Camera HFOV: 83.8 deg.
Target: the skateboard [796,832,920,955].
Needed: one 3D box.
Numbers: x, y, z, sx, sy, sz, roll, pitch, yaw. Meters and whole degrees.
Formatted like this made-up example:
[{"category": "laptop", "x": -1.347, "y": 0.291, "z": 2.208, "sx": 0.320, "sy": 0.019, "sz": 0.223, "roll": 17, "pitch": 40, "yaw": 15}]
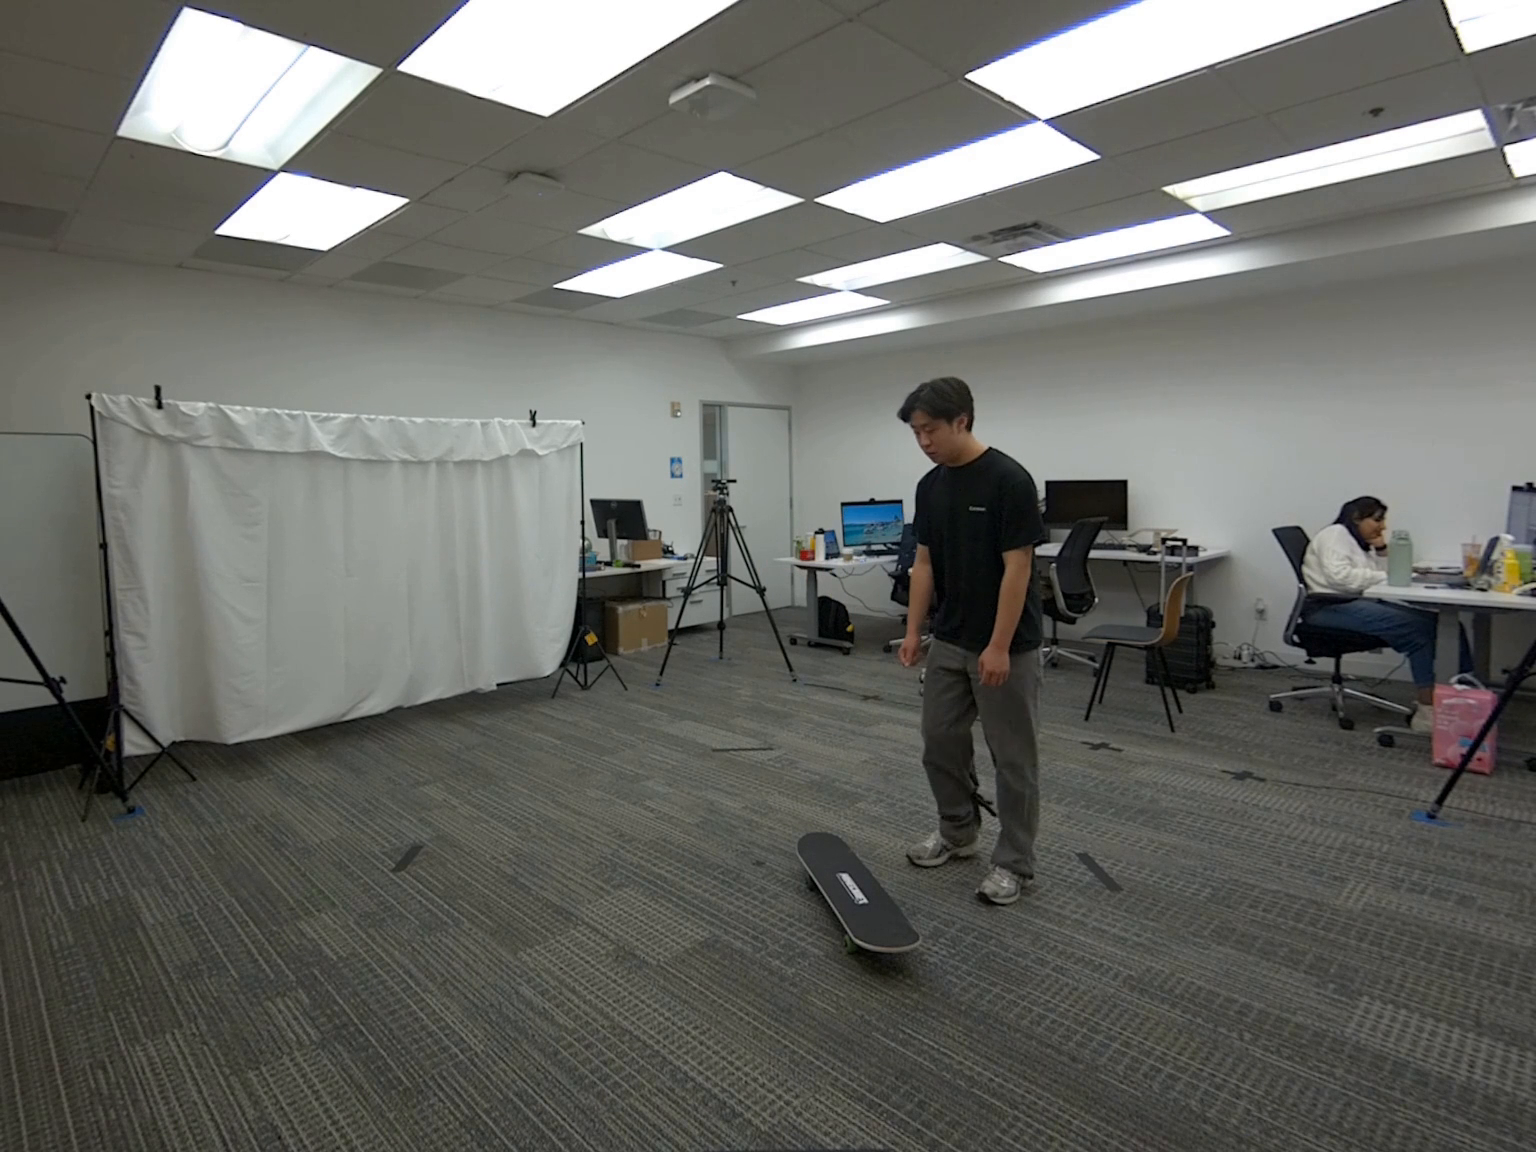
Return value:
[{"category": "skateboard", "x": 0.277, "y": 1.031, "z": 2.727, "sx": 0.191, "sy": 0.110, "sz": 0.798, "roll": -2, "pitch": 6, "yaw": -14}]
